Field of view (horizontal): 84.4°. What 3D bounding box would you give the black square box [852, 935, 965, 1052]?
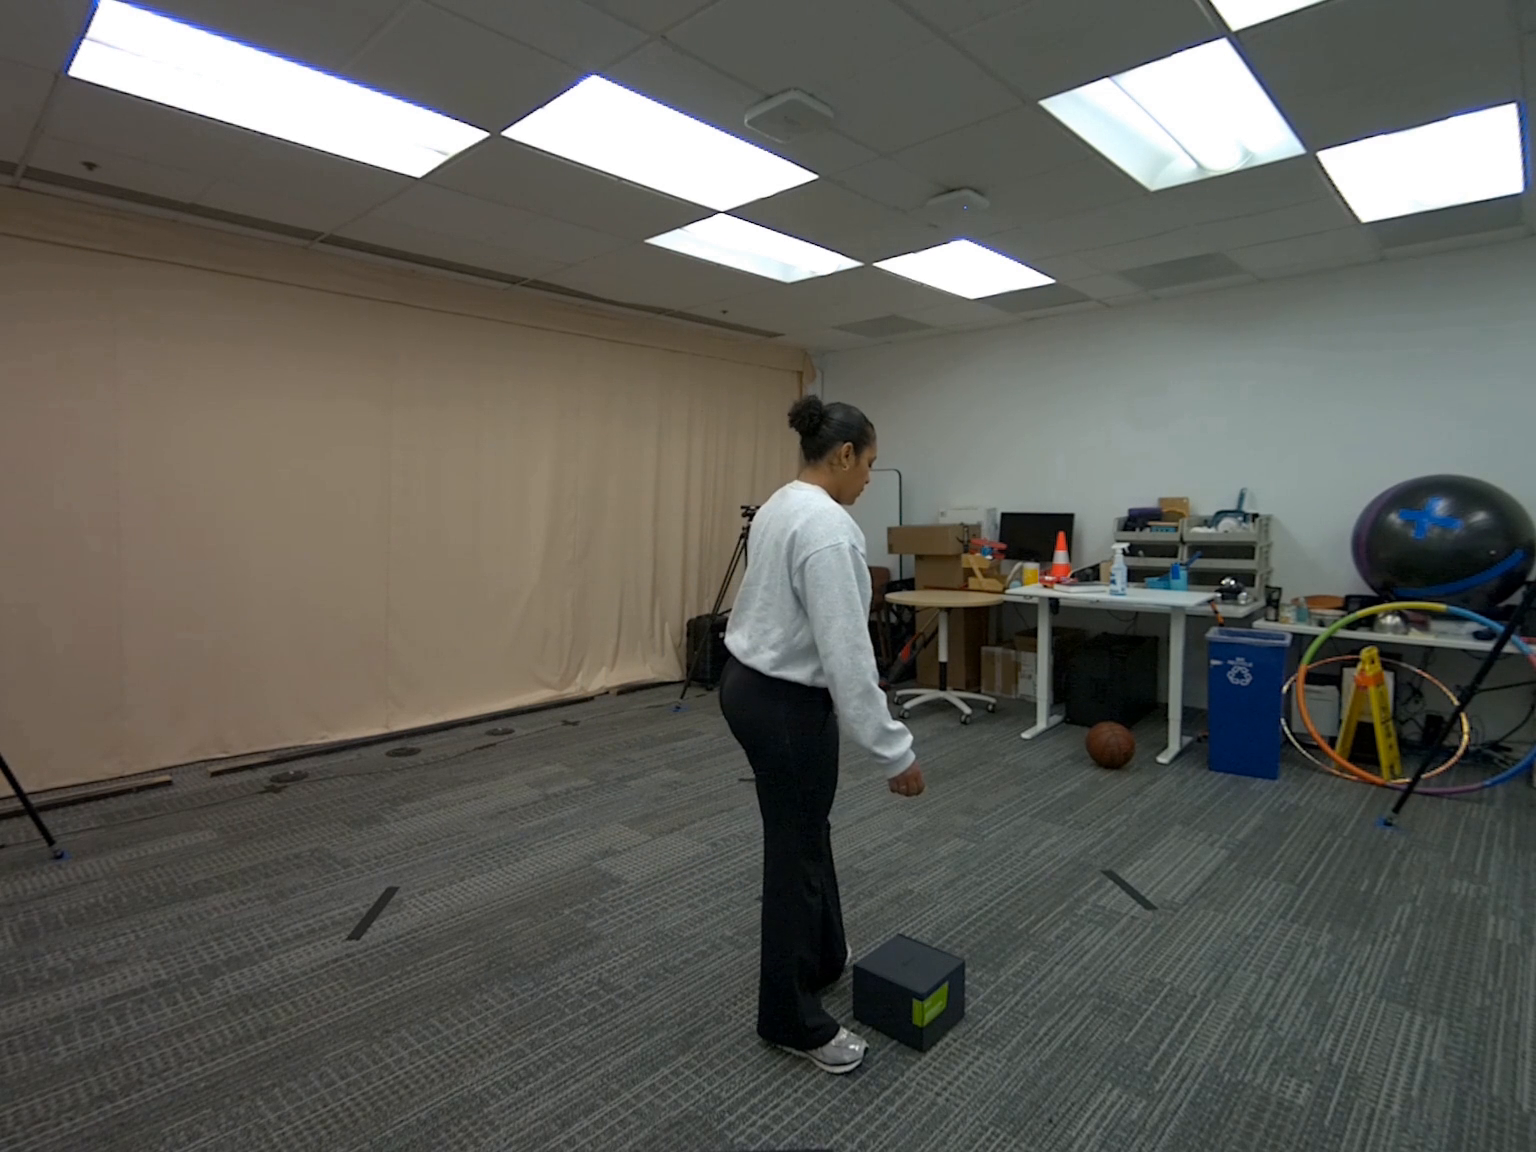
[{"bbox_3d":[0.387,1.120,2.282,0.224,0.155,0.221,4,6,41],"label":"black square box"}]
